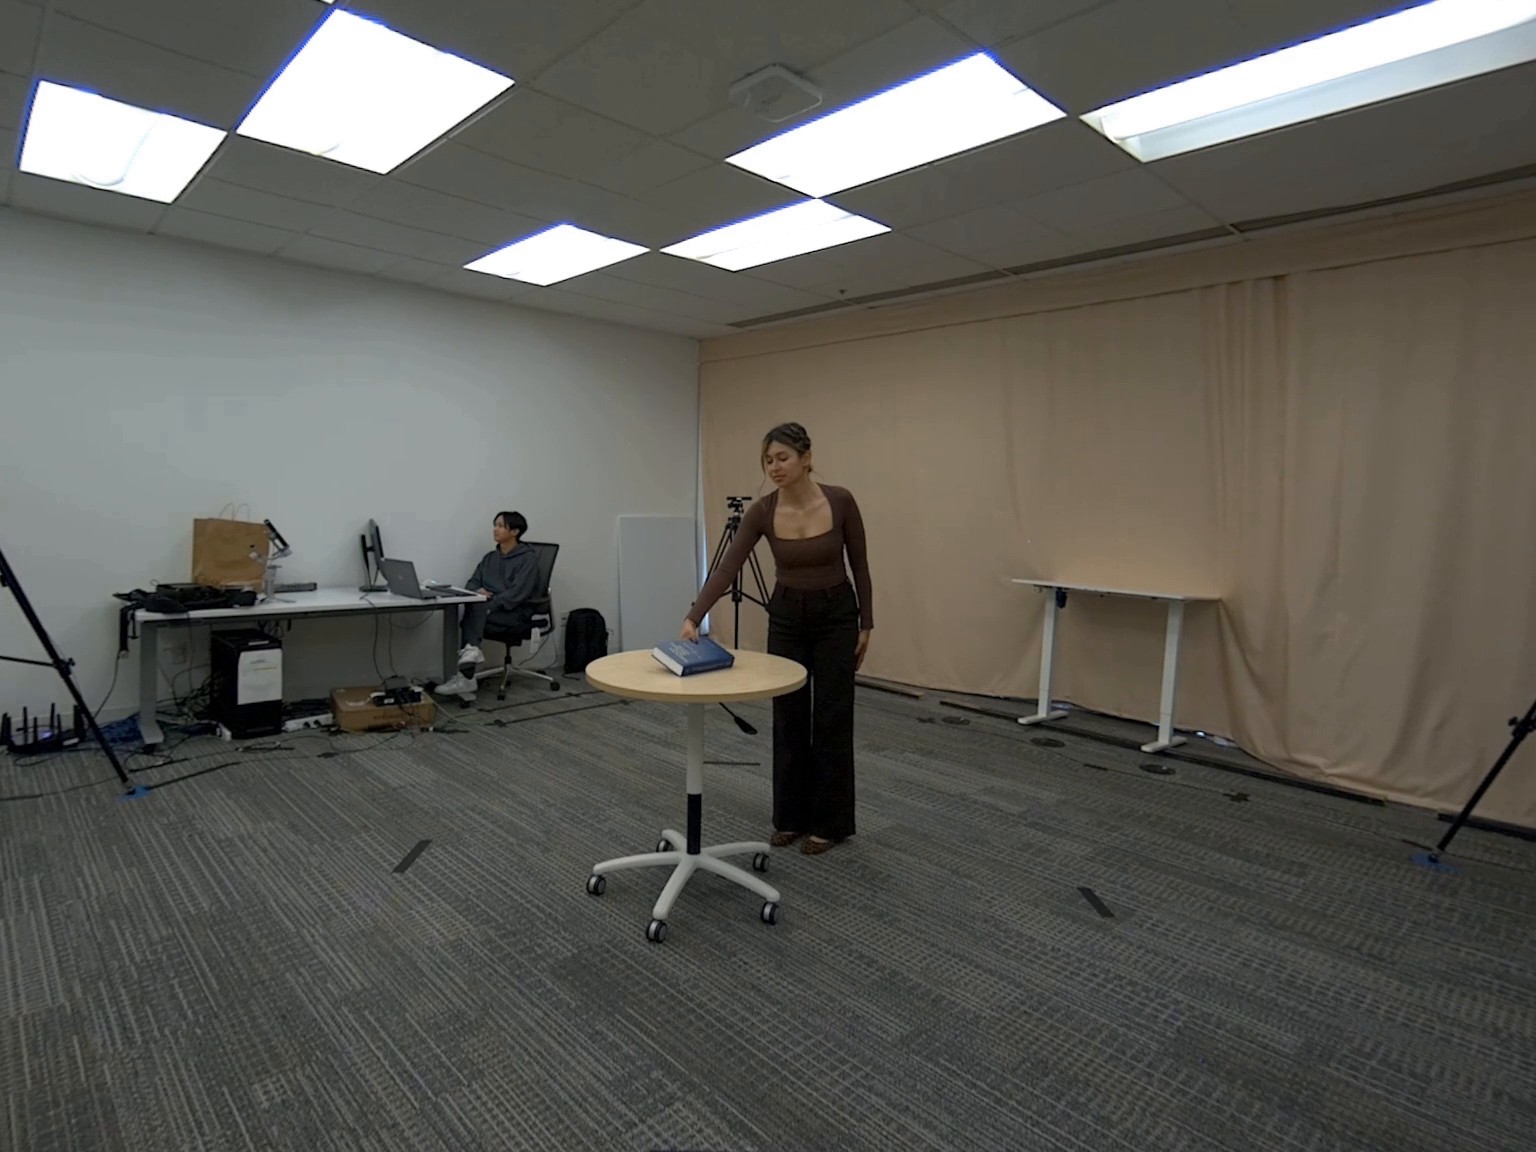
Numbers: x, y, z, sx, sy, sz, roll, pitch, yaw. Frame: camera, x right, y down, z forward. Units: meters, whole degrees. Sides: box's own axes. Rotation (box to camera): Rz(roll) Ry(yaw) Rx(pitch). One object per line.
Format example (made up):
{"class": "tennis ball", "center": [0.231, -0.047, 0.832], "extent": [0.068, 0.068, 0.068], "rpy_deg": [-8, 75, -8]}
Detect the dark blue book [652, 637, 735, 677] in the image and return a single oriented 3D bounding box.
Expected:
{"class": "dark blue book", "center": [-0.255, 0.284, 2.905], "extent": [0.240, 0.045, 0.168], "rpy_deg": [-6, 26, -45]}
